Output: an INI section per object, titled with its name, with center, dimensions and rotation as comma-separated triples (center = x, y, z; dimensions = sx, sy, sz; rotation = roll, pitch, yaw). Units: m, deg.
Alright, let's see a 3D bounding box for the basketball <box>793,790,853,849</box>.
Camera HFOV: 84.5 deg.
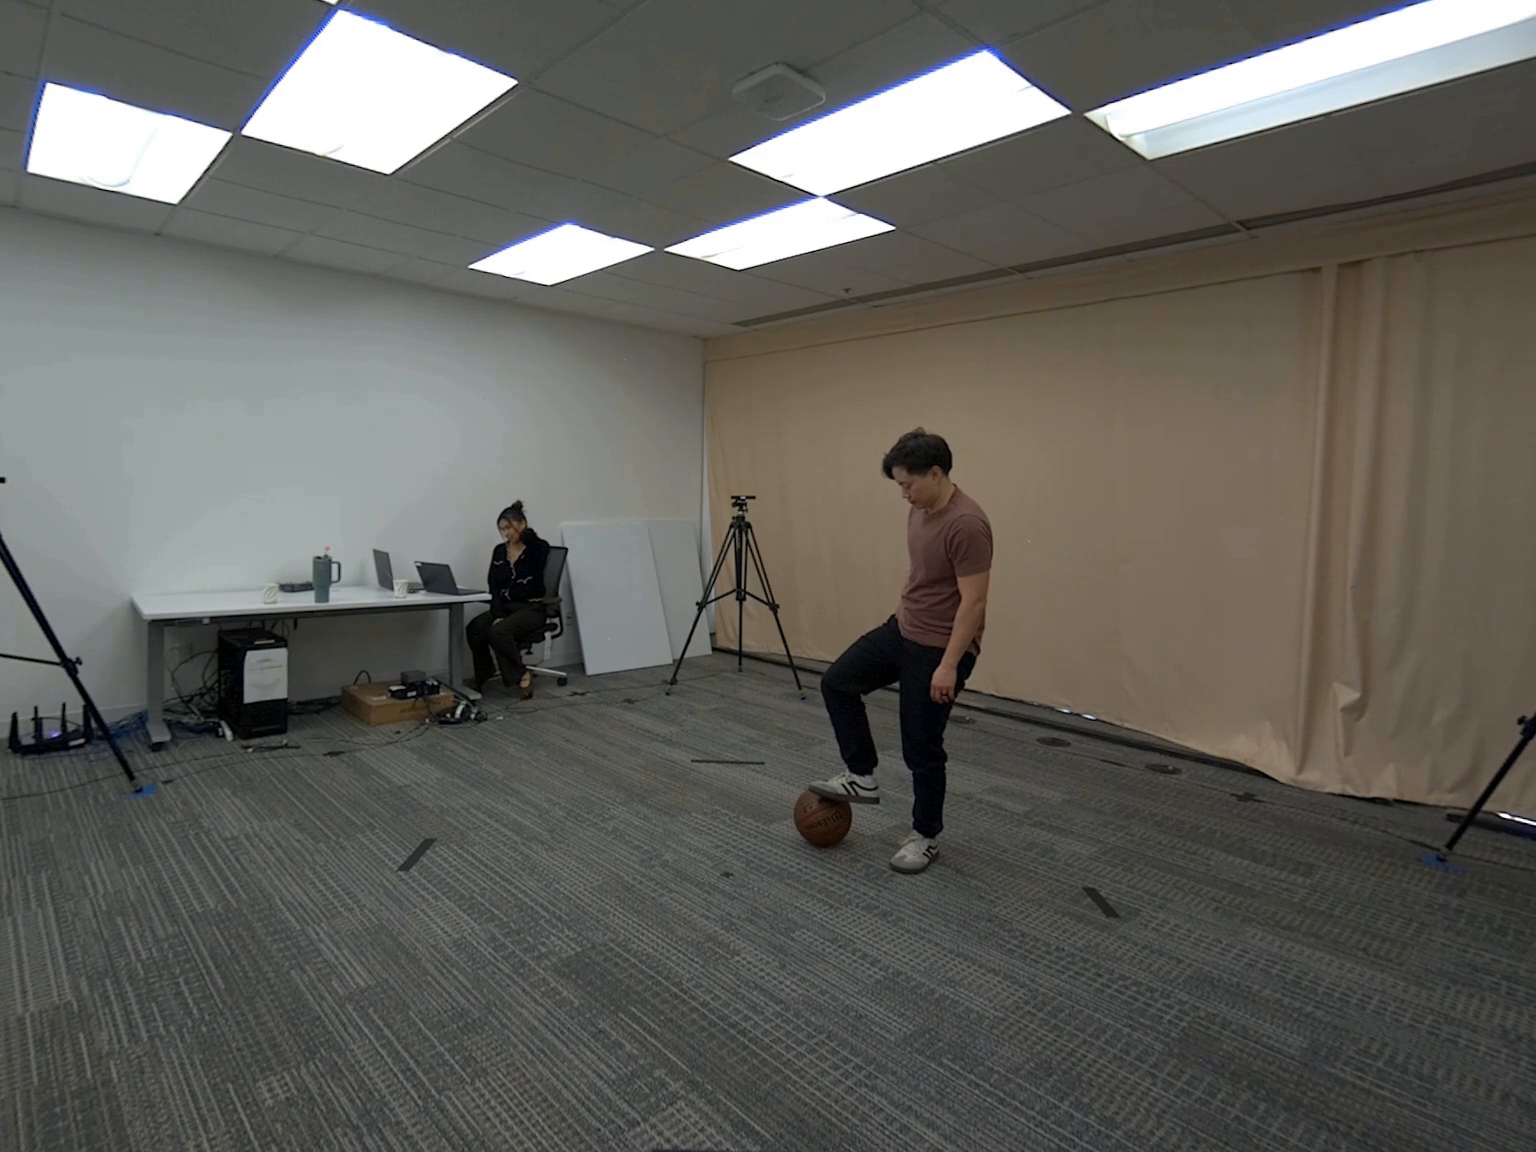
[basketball]
center = 0.211, 0.963, 3.405
dimensions = 0.236, 0.235, 0.237
rotation = 1, 4, -1
